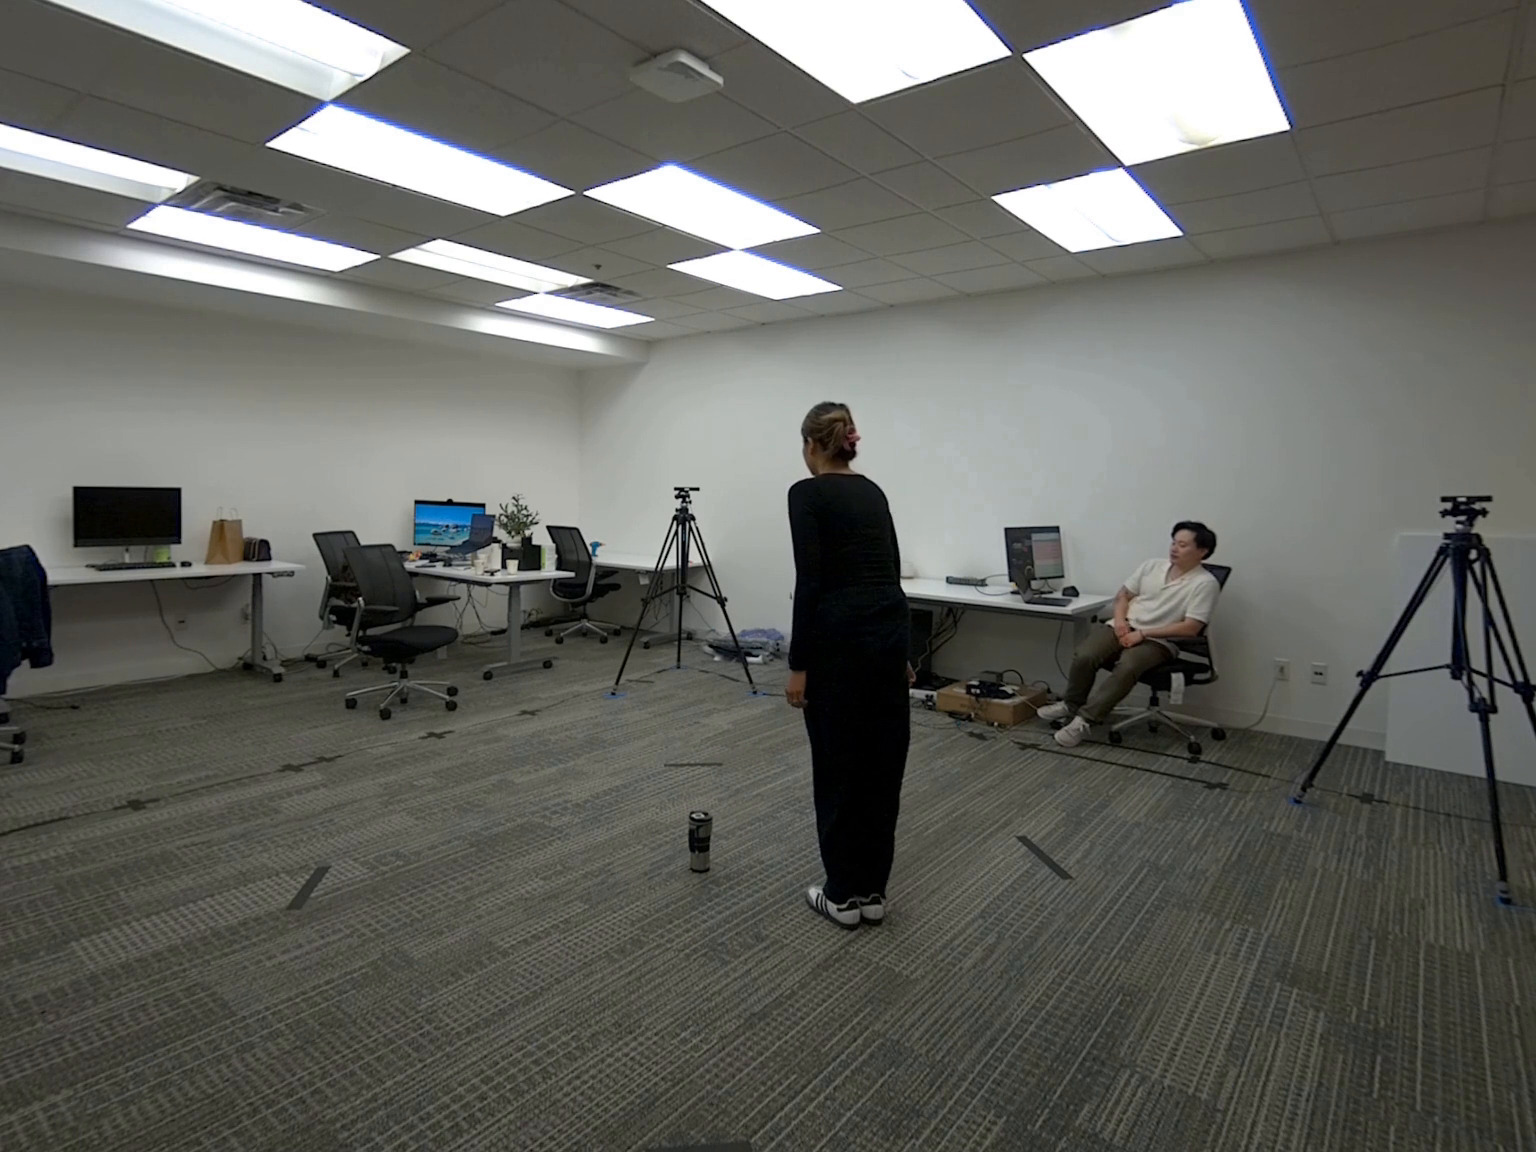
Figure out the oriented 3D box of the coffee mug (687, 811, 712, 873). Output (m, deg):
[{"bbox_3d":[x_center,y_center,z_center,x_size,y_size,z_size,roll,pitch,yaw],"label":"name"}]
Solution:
[{"bbox_3d":[-0.268,0.968,3.104,0.085,0.201,0.126,-5,12,-40],"label":"coffee mug"}]
